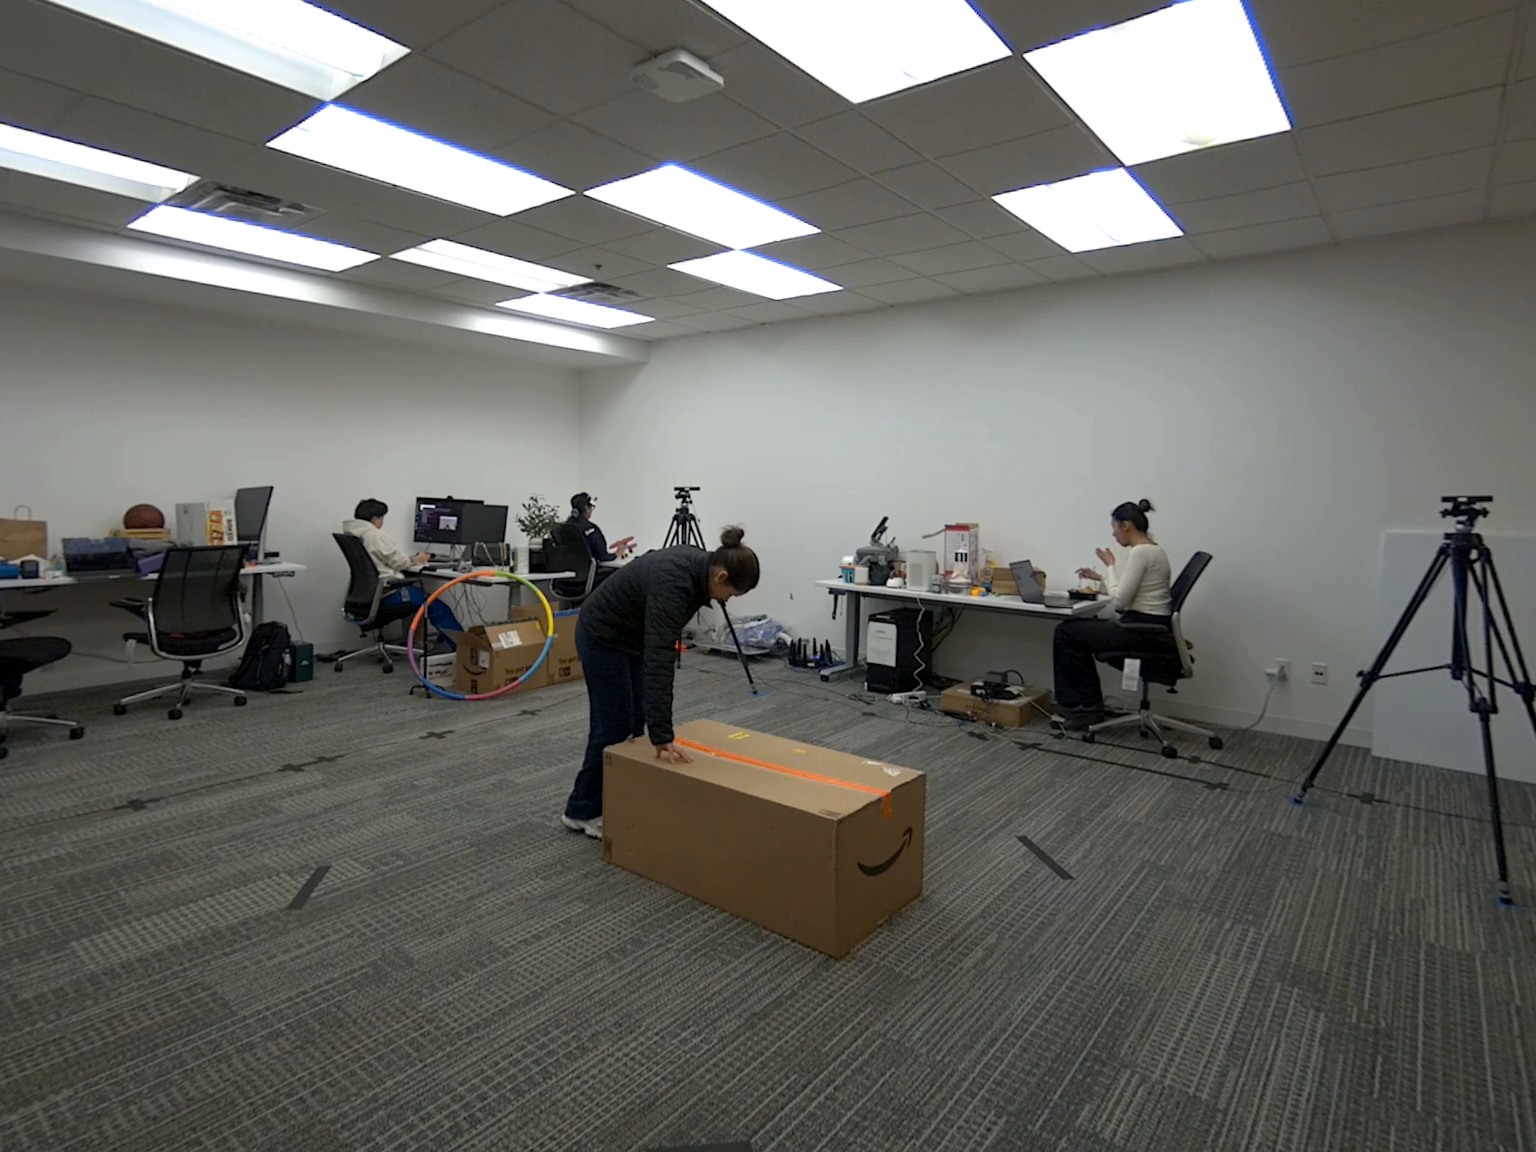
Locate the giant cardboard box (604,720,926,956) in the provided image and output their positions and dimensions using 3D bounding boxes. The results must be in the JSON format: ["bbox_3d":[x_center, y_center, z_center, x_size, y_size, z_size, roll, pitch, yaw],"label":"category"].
[{"bbox_3d":[-0.023,0.866,3.058,1.062,0.444,0.567,6,8,38],"label":"giant cardboard box"}]
